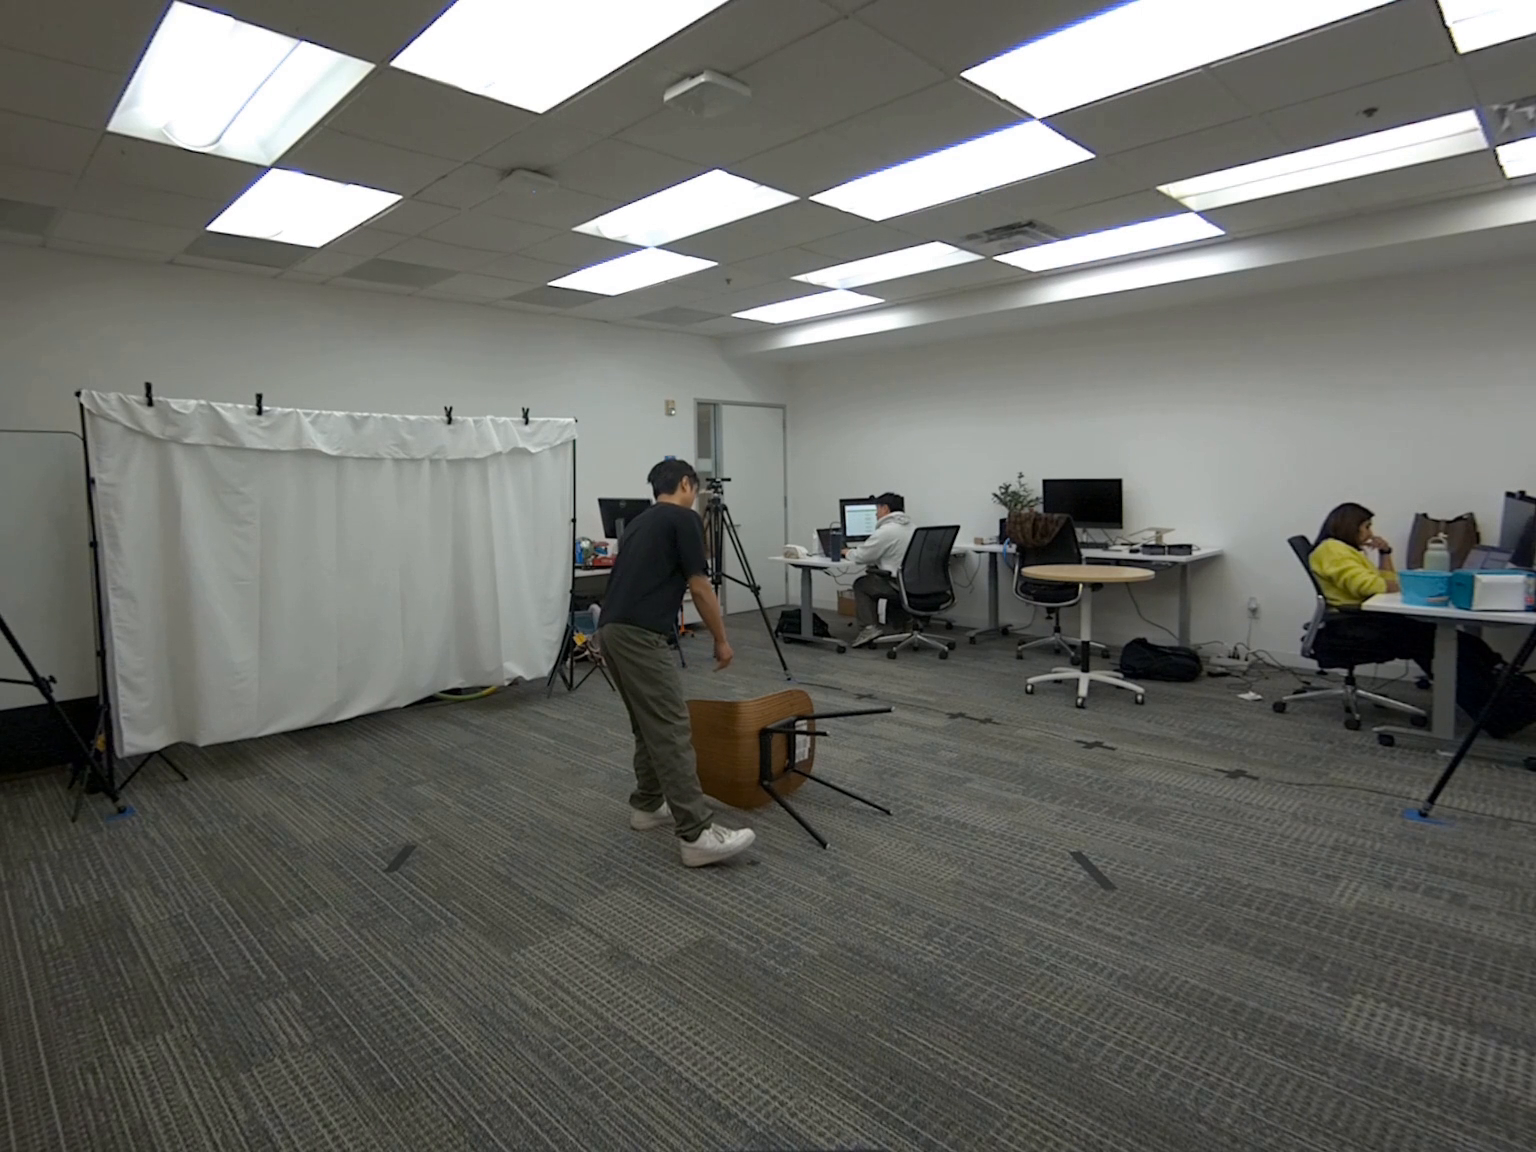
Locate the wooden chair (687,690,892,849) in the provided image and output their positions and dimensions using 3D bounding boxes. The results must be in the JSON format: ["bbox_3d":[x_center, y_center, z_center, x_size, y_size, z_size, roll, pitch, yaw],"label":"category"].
[{"bbox_3d":[0.048,0.747,3.648,0.904,0.476,0.510,4,8,38],"label":"wooden chair"}]
